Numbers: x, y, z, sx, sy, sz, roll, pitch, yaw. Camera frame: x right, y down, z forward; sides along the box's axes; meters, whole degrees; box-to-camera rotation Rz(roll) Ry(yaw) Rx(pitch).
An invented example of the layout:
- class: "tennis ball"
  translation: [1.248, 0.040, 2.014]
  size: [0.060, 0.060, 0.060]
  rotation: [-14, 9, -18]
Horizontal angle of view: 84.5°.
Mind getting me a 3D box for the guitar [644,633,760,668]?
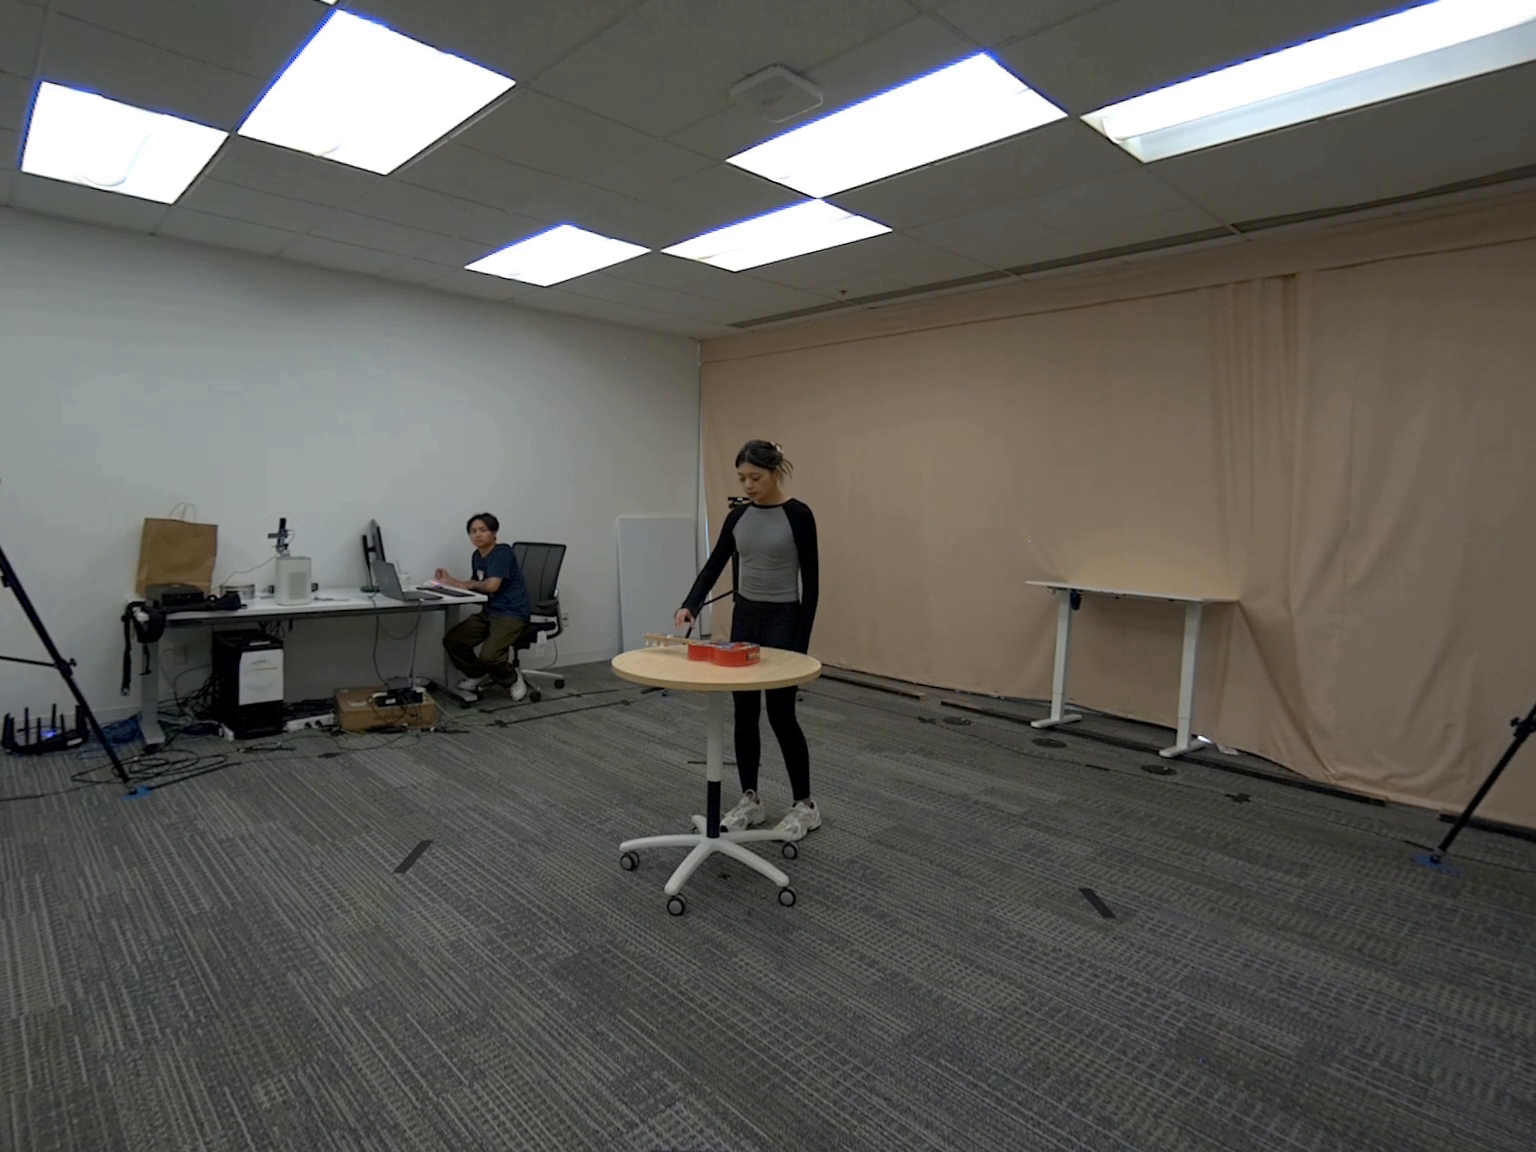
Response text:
- class: "guitar"
  translation: [-0.257, 0.273, 3.190]
  size: [0.510, 0.070, 0.189]
  rotation: [5, 5, 37]
